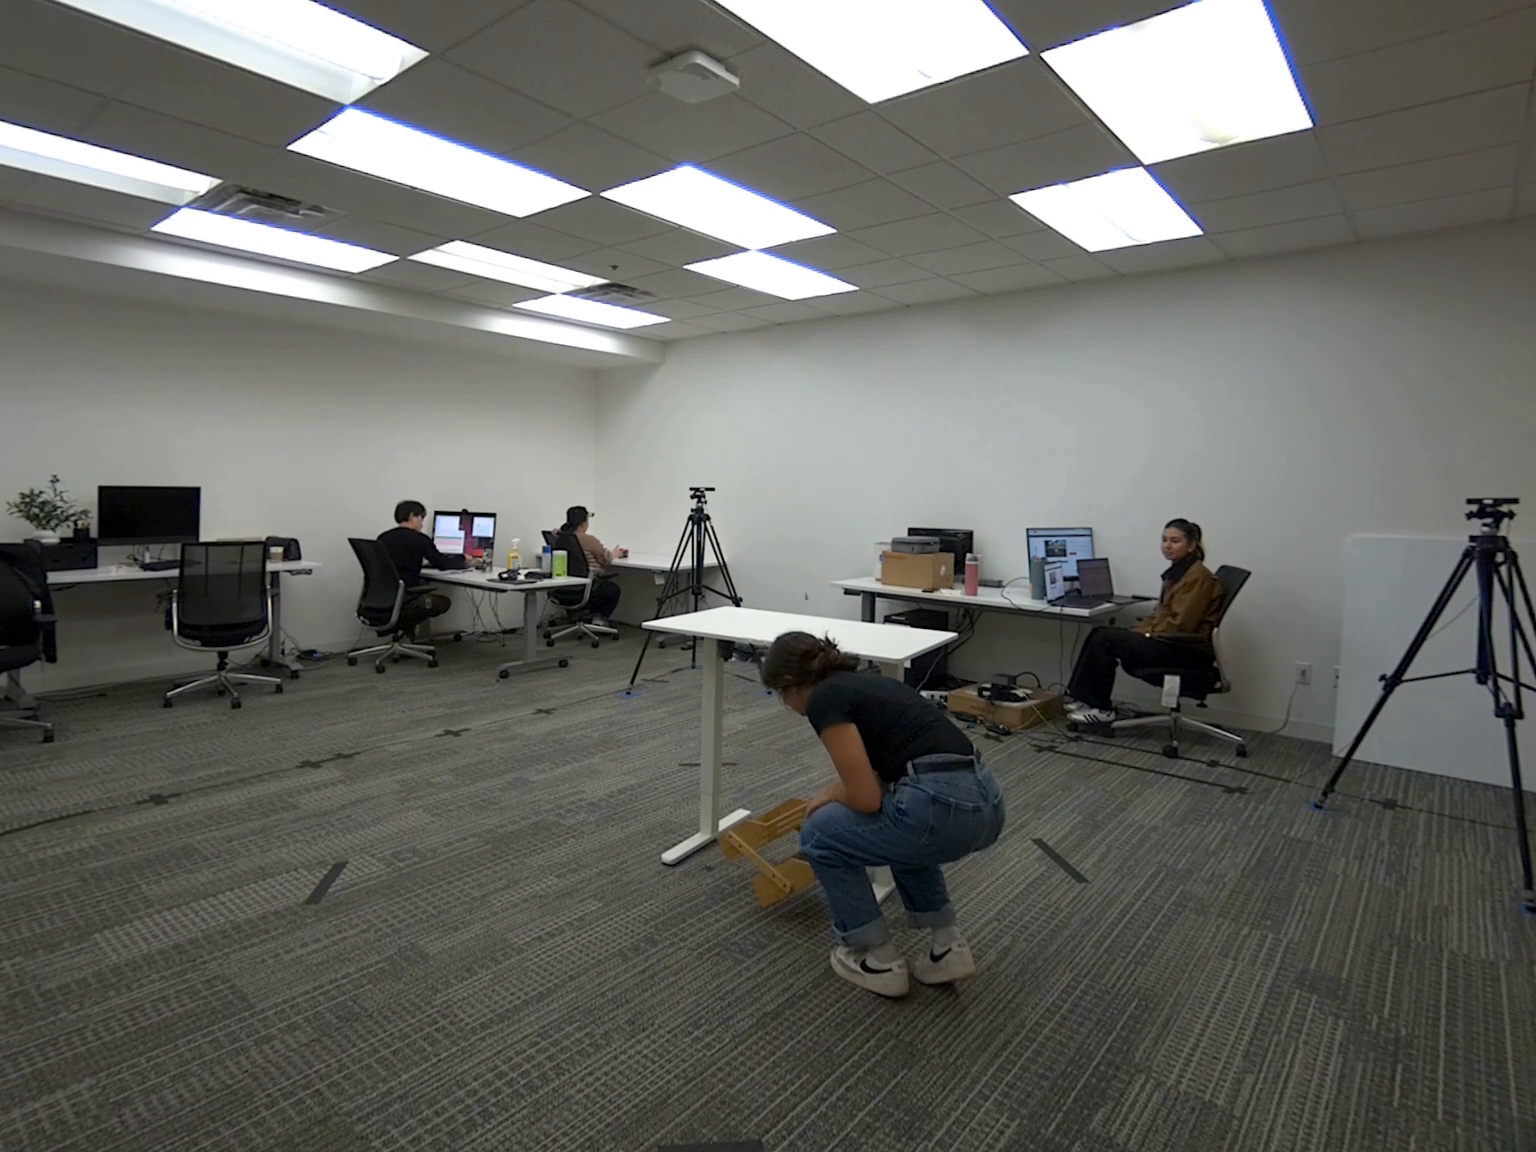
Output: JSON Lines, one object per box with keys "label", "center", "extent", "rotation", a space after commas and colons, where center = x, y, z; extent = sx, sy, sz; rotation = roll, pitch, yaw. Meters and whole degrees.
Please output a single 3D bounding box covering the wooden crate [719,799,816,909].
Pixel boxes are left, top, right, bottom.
{"label": "wooden crate", "center": [0.065, 0.893, 2.843], "extent": [0.303, 0.280, 0.315], "rotation": [-38, -19, 27]}
